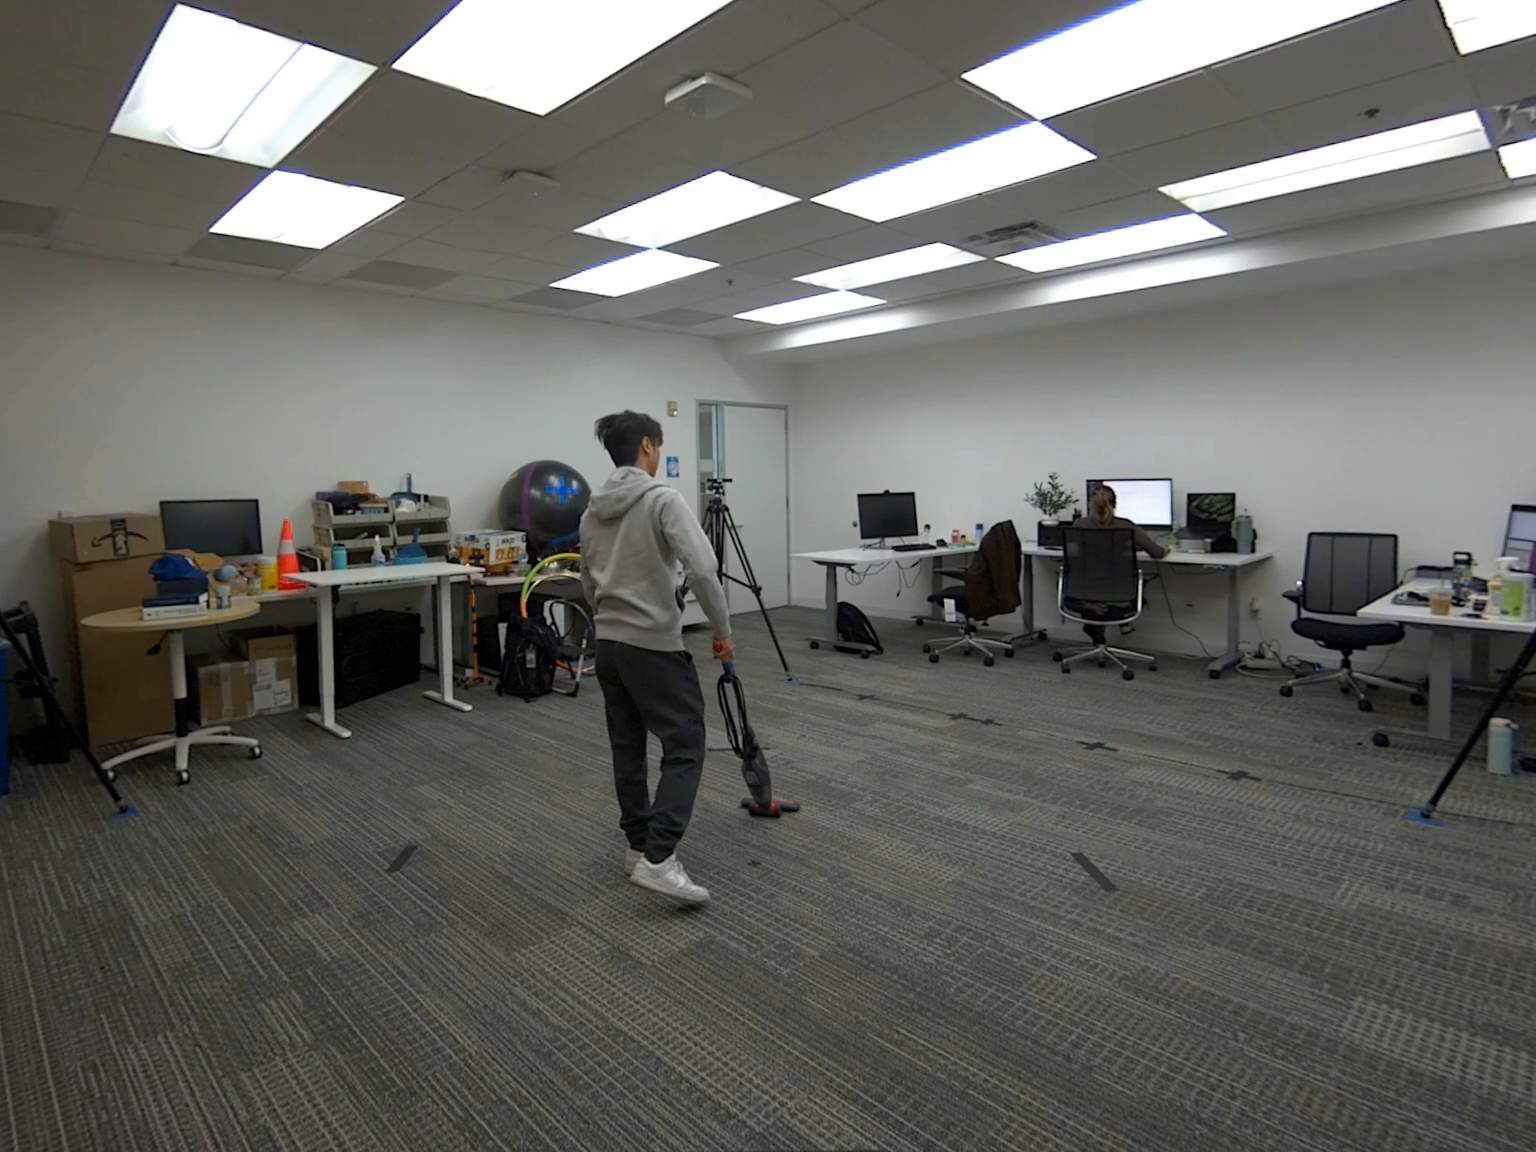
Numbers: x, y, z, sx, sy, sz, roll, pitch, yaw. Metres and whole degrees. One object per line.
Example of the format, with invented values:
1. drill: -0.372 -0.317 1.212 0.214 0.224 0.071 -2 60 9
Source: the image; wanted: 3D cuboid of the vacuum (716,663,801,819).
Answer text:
1. vacuum: -0.091 0.614 3.276 0.258 1.014 0.146 4 44 20
